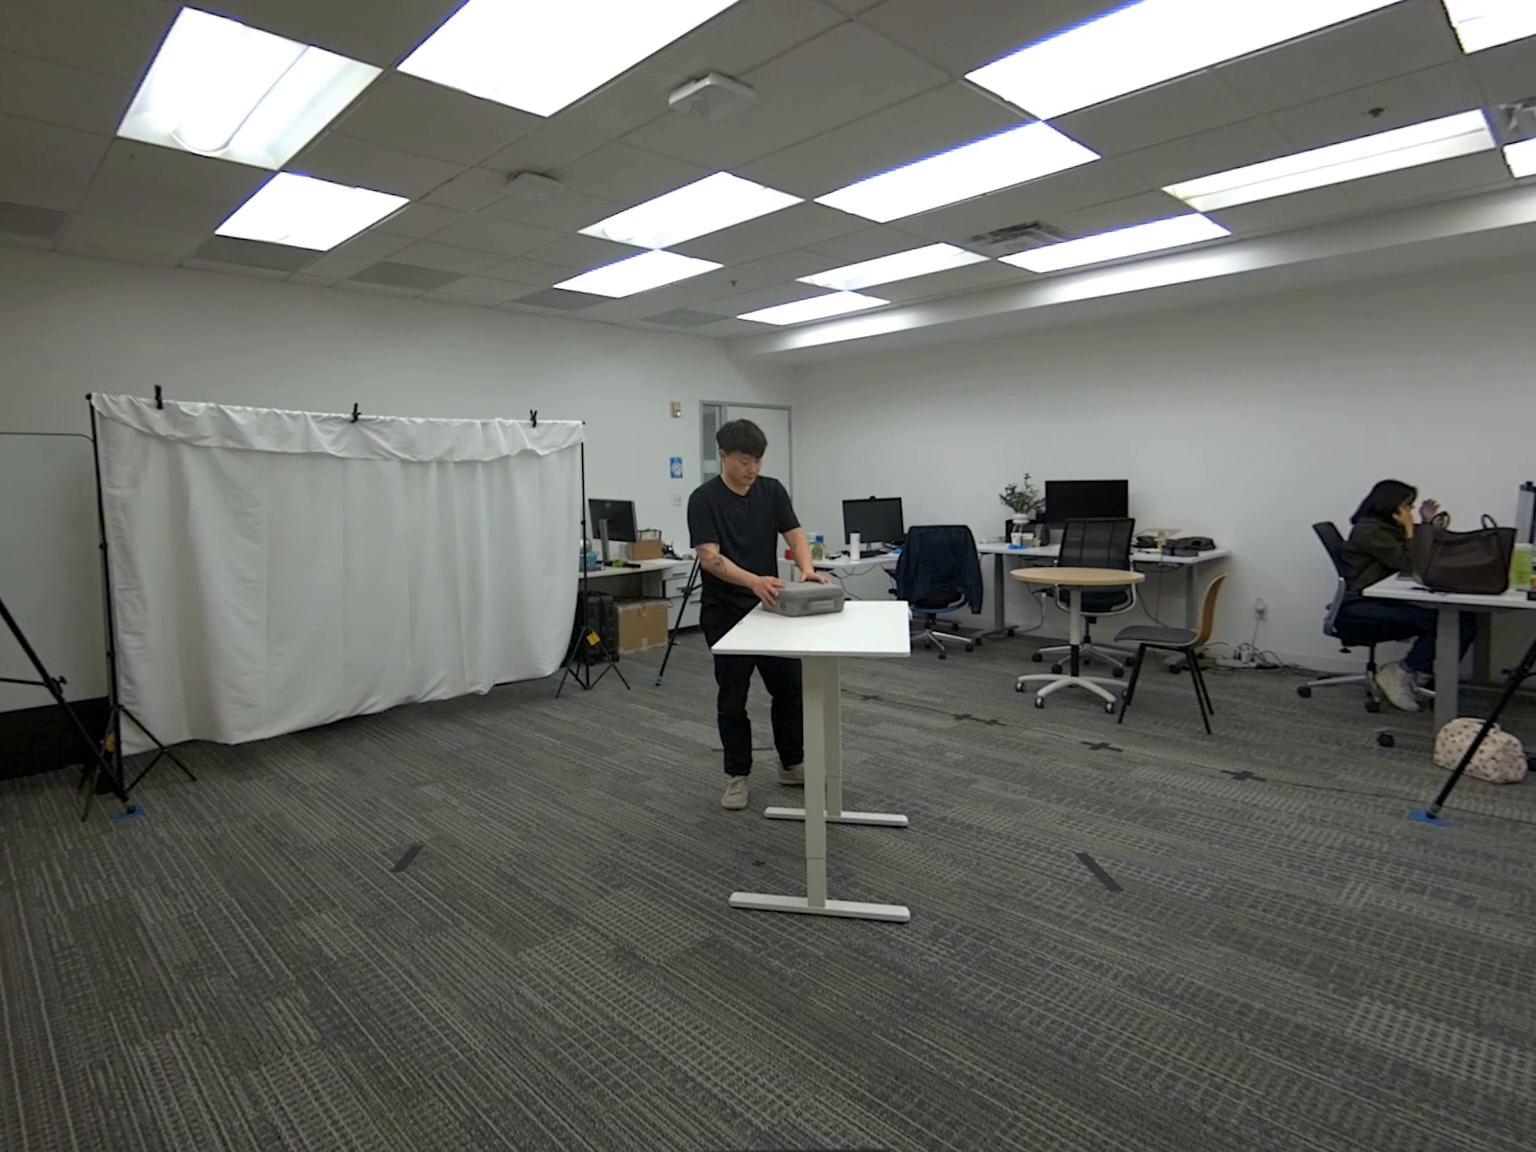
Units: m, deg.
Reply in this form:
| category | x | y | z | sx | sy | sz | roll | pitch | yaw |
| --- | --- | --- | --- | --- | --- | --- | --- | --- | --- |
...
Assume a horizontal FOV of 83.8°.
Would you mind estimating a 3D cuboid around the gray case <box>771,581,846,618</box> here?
| category | x | y | z | sx | sy | sz | roll | pitch | yaw |
| --- | --- | --- | --- | --- | --- | --- | --- | --- | --- |
| gray case | 0.148 | 0.087 | 3.321 | 0.252 | 0.104 | 0.267 | -4 | 7 | -24 |
